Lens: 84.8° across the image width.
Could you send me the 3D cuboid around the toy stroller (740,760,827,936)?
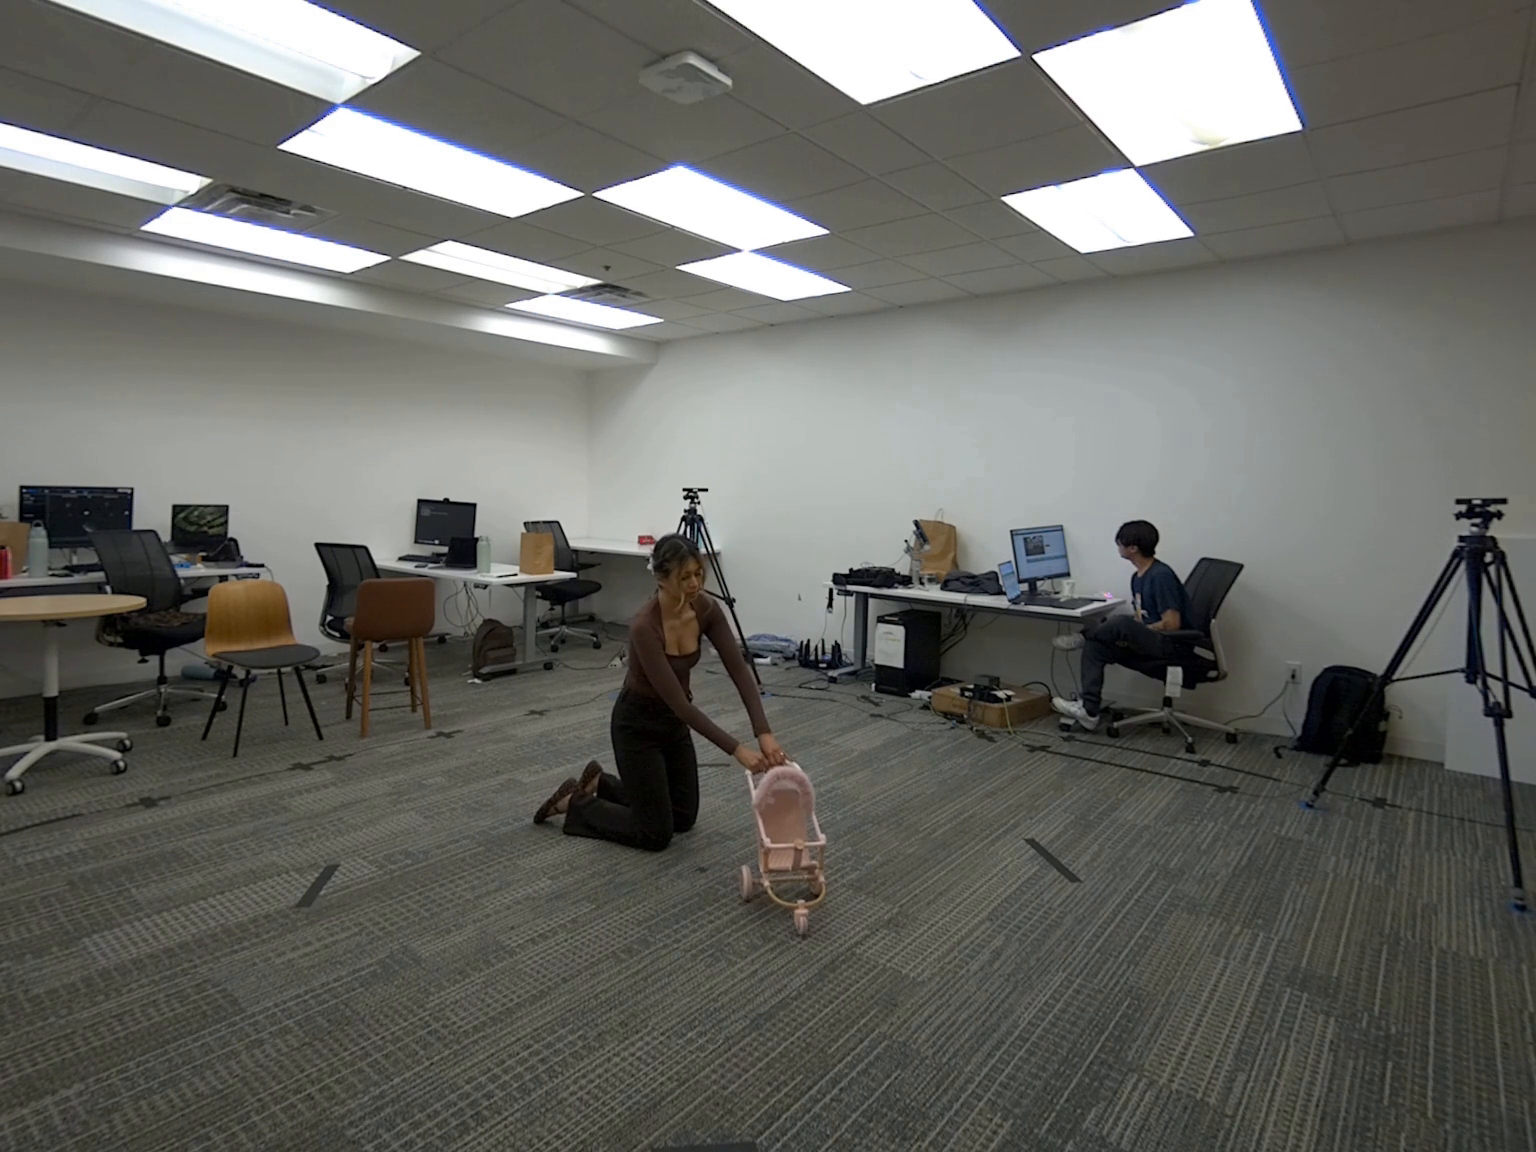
[{"bbox_3d":[0.051,0.873,2.848,0.279,0.543,0.339,0,-14,-9],"label":"toy stroller"}]
